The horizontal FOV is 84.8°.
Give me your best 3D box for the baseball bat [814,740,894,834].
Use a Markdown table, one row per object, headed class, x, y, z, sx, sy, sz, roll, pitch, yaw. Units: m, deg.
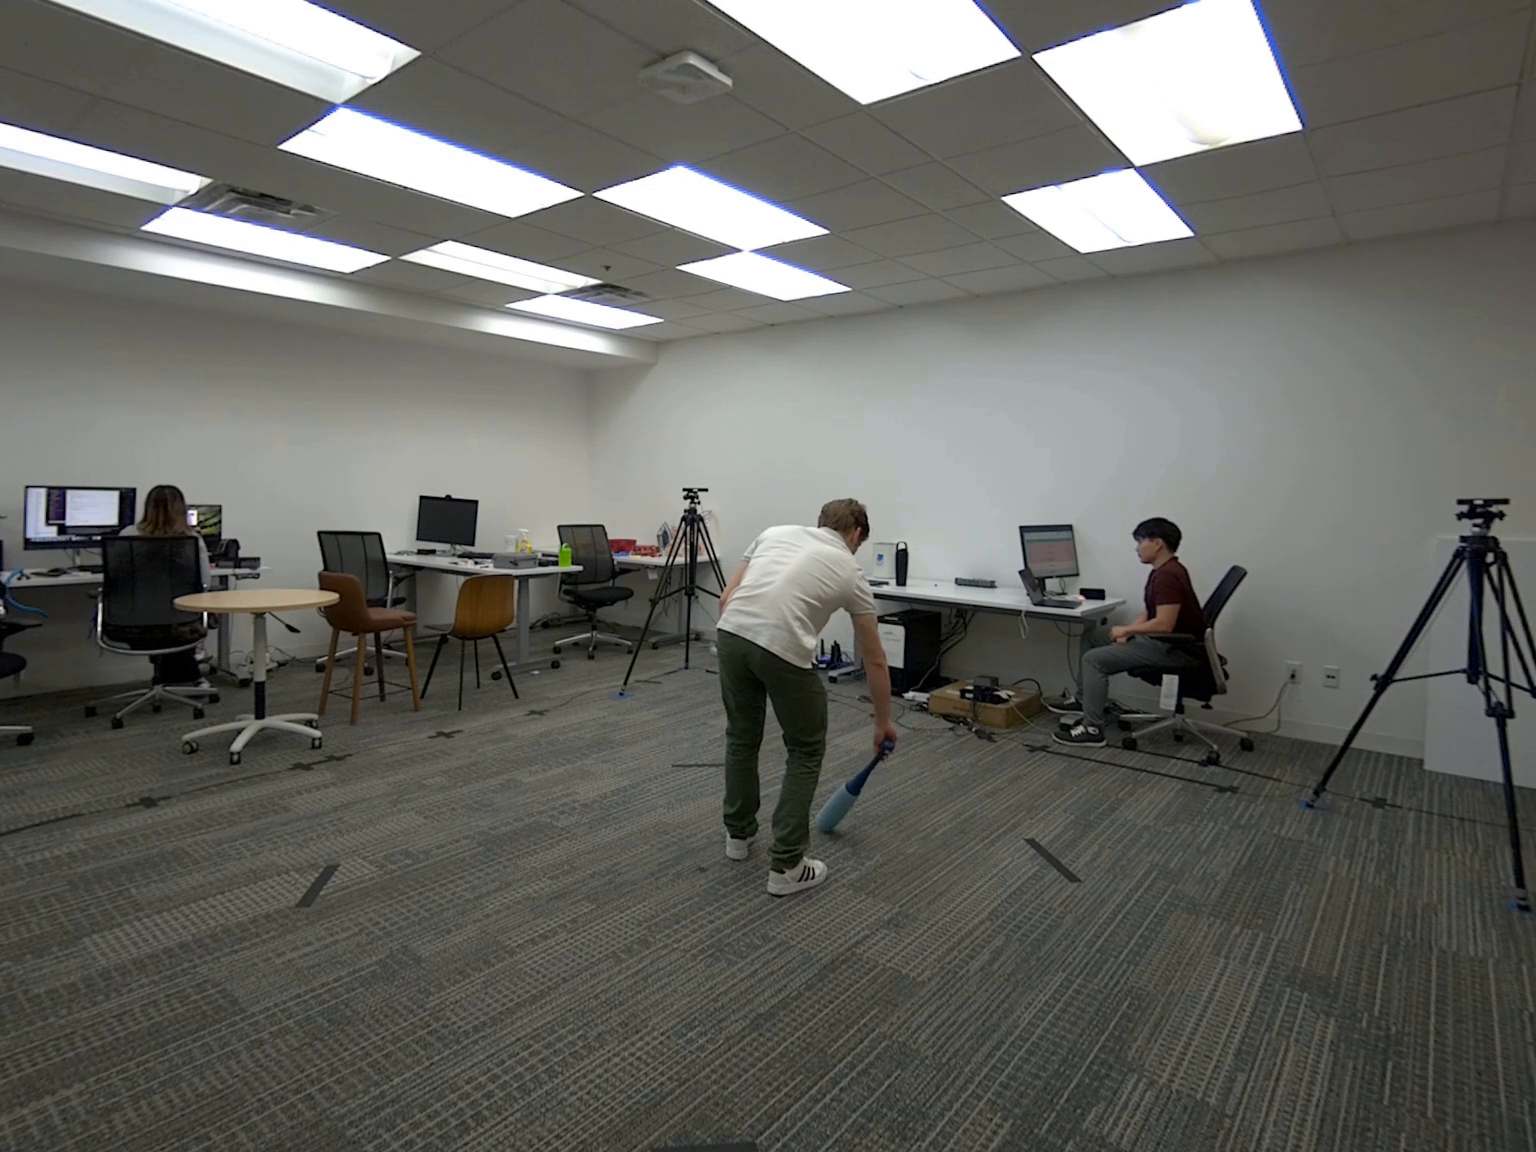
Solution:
| class | x | y | z | sx | sy | sz | roll | pitch | yaw |
| --- | --- | --- | --- | --- | --- | --- | --- | --- | --- |
| baseball bat | 0.330 | 0.829 | 3.366 | 0.087 | 0.538 | 0.091 | 20 | 34 | -16 |
